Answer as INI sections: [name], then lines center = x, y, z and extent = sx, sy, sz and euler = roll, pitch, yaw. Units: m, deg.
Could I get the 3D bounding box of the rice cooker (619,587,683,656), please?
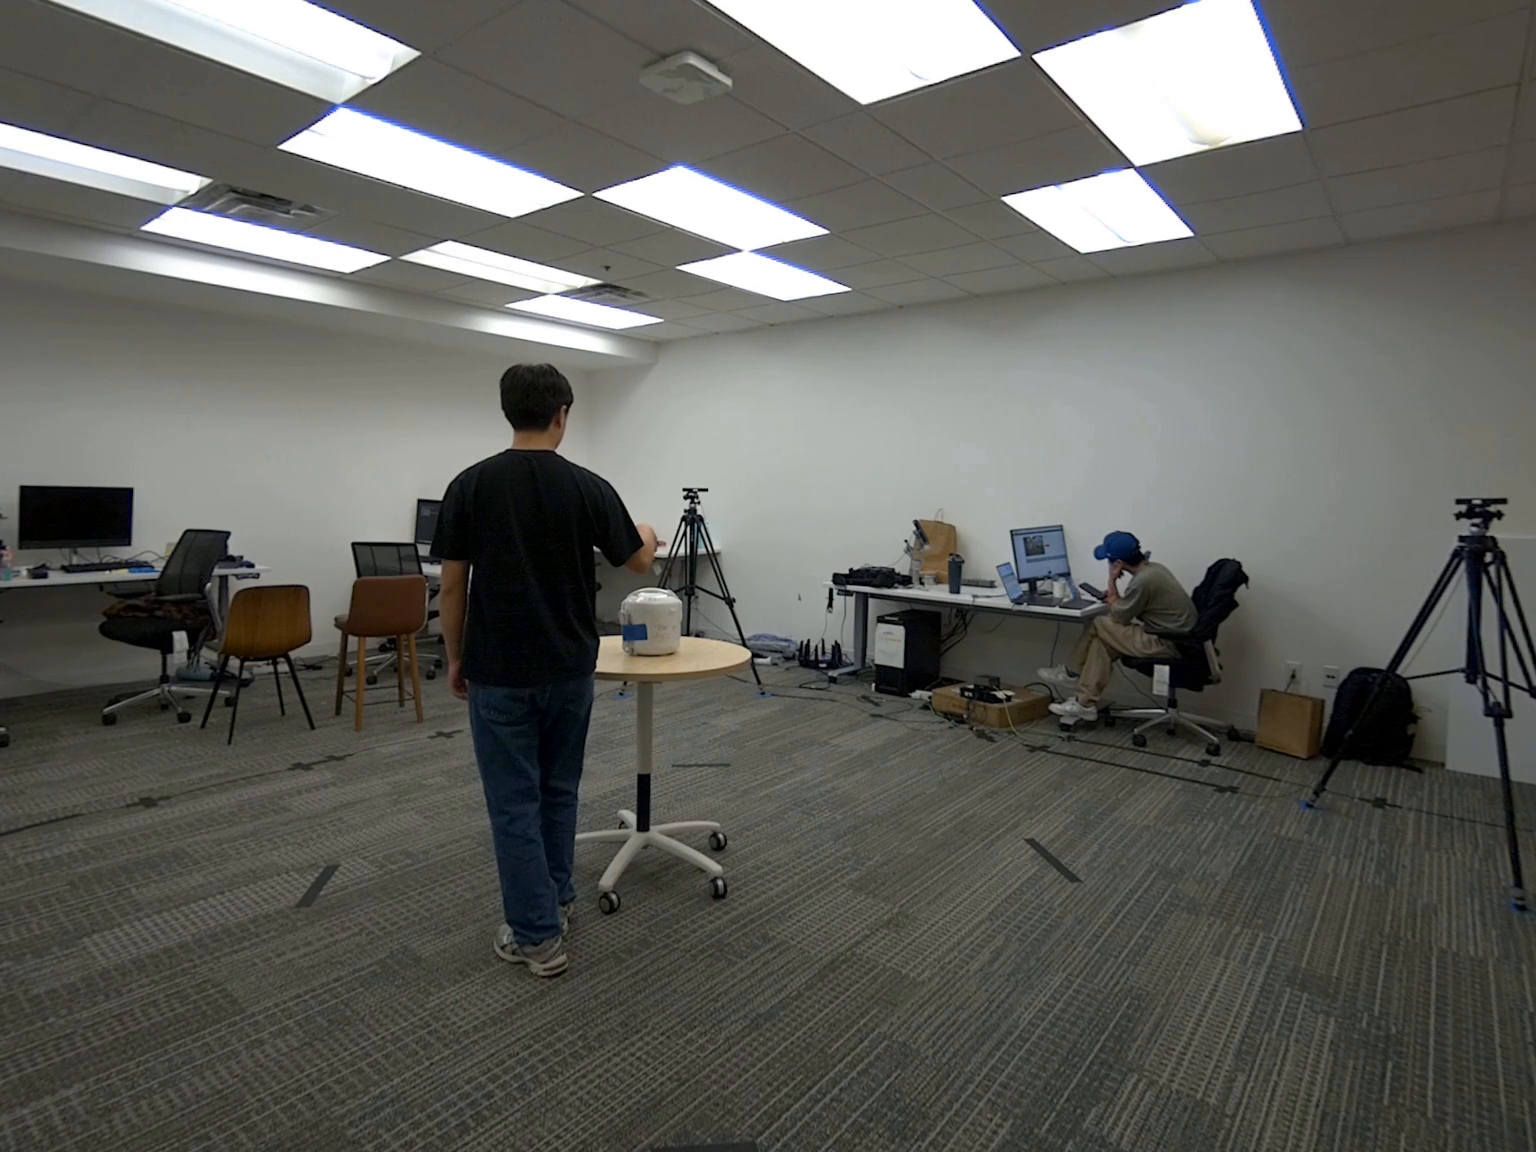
[rice cooker]
center = -0.430, 0.155, 3.079
extent = 0.221, 0.232, 0.218
euler = 1, 4, 1
